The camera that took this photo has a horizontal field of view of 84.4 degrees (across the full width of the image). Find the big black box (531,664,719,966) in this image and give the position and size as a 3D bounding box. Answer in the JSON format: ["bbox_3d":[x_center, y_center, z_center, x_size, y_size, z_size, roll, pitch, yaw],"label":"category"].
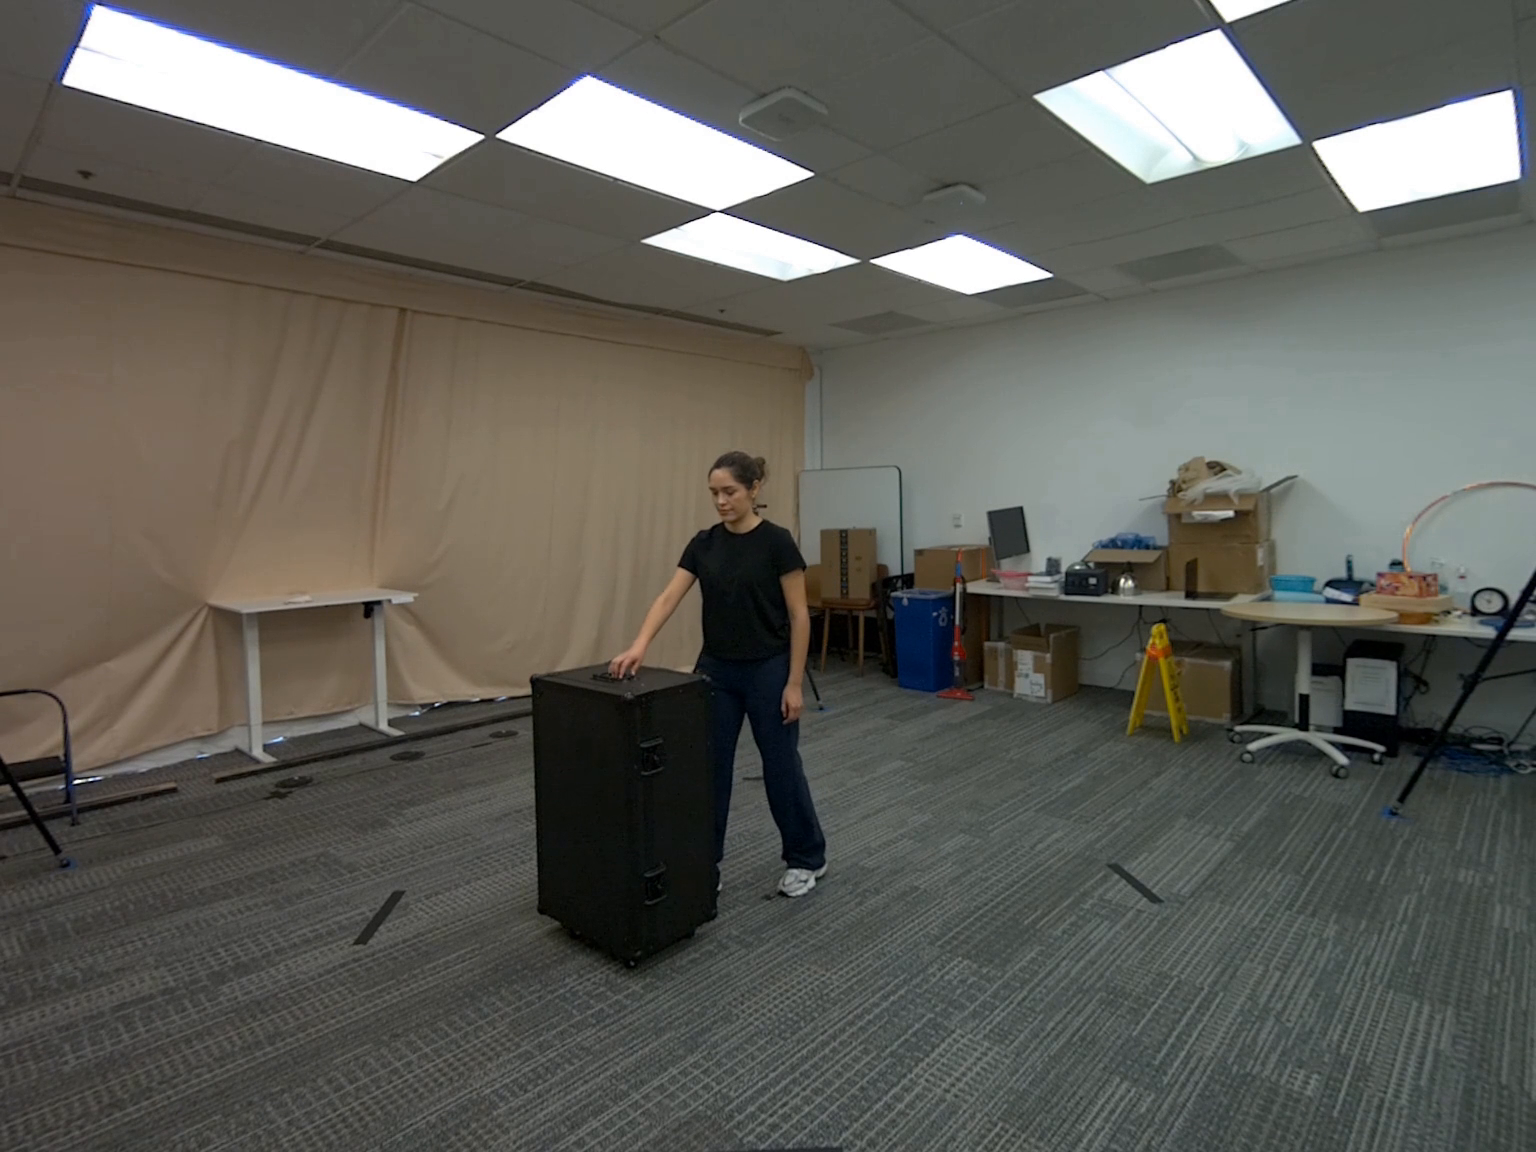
[{"bbox_3d":[-0.450,0.744,2.726,0.538,0.860,0.384,1,3,41],"label":"big black box"}]
